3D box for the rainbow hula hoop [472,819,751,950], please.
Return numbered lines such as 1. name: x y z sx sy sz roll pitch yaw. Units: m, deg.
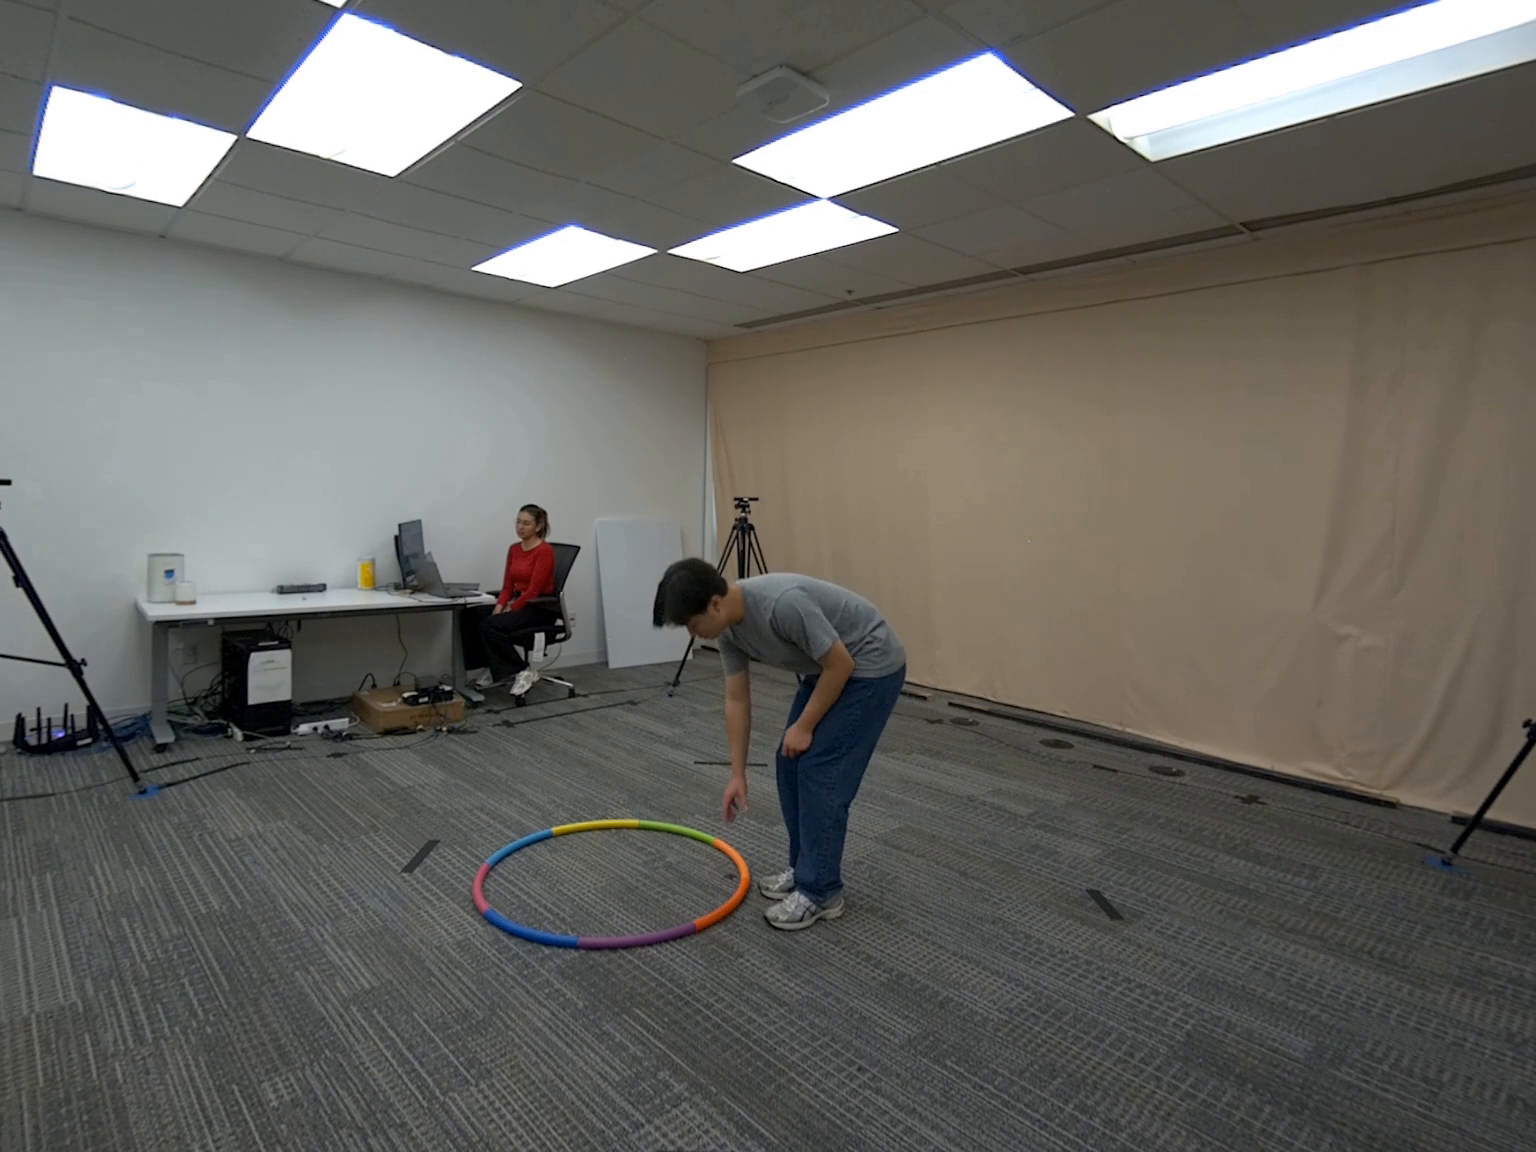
1. rainbow hula hoop: -0.570 1.069 3.060 0.978 0.035 0.982 2 5 -1
